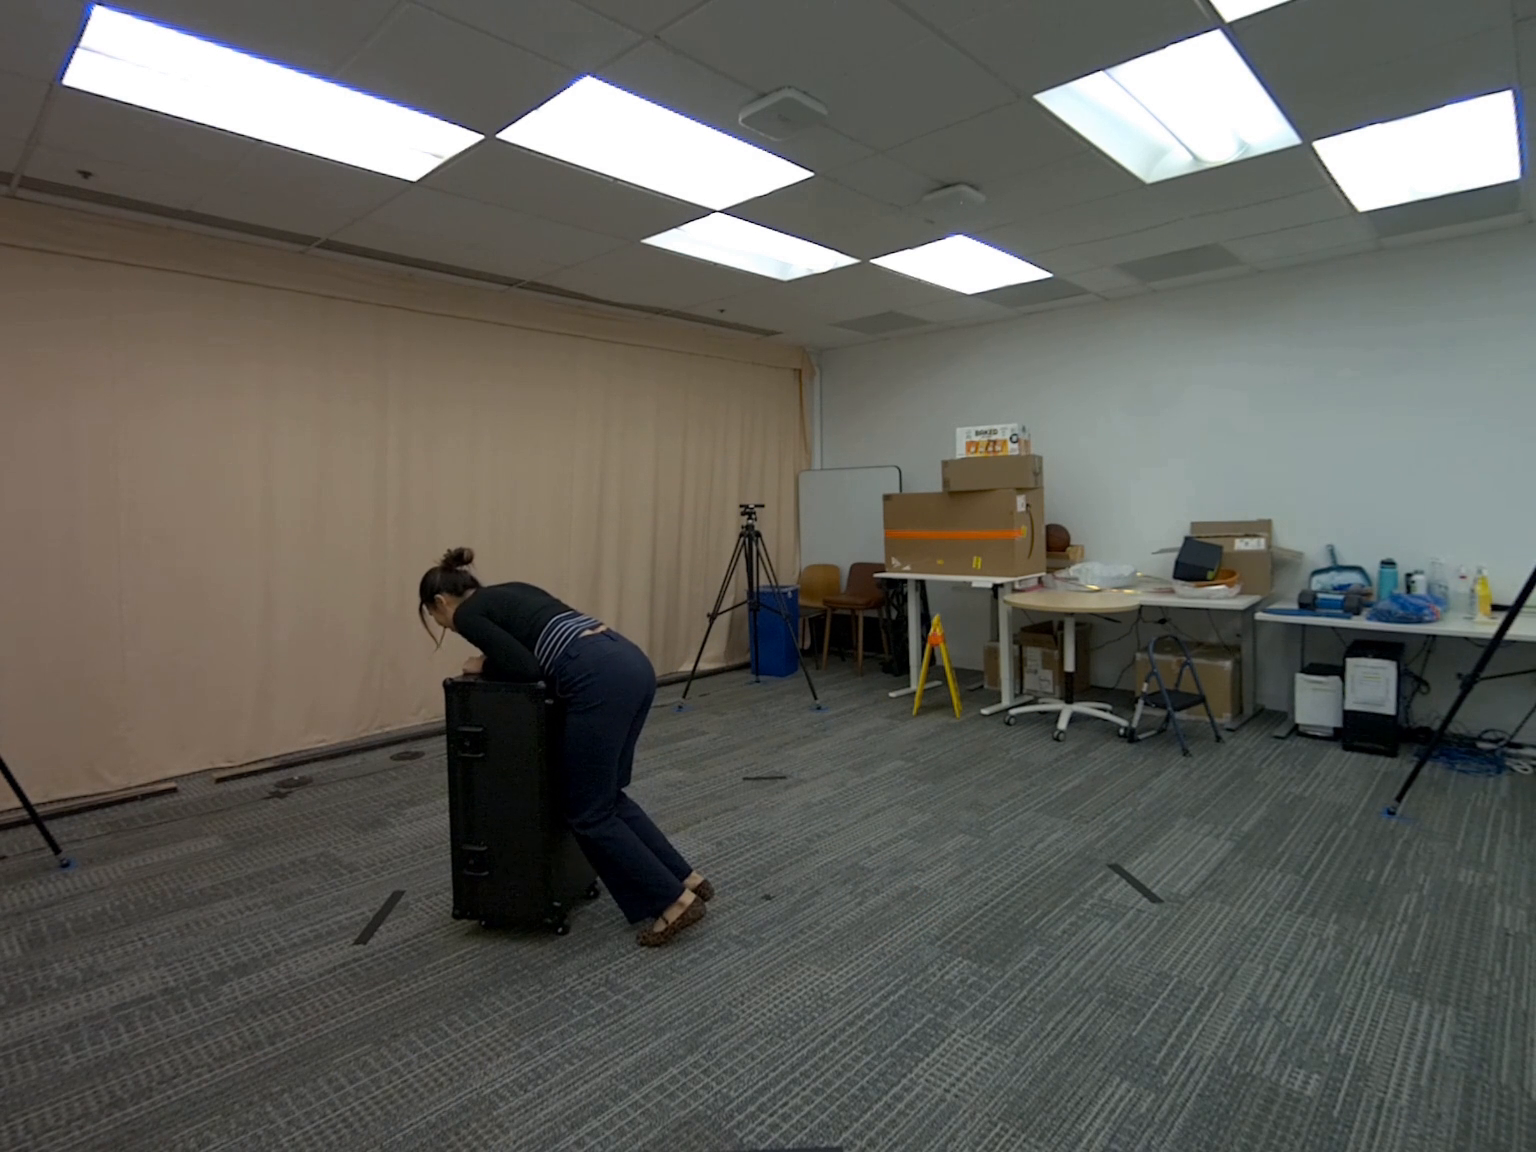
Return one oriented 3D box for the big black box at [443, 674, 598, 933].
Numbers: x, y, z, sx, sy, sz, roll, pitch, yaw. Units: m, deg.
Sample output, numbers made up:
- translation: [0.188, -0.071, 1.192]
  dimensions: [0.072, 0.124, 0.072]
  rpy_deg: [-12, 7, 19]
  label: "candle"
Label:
- translation: [-0.808, 0.748, 2.914]
  dimensions: [0.402, 0.860, 0.514]
  rpy_deg: [1, 3, 13]
  label: "big black box"
